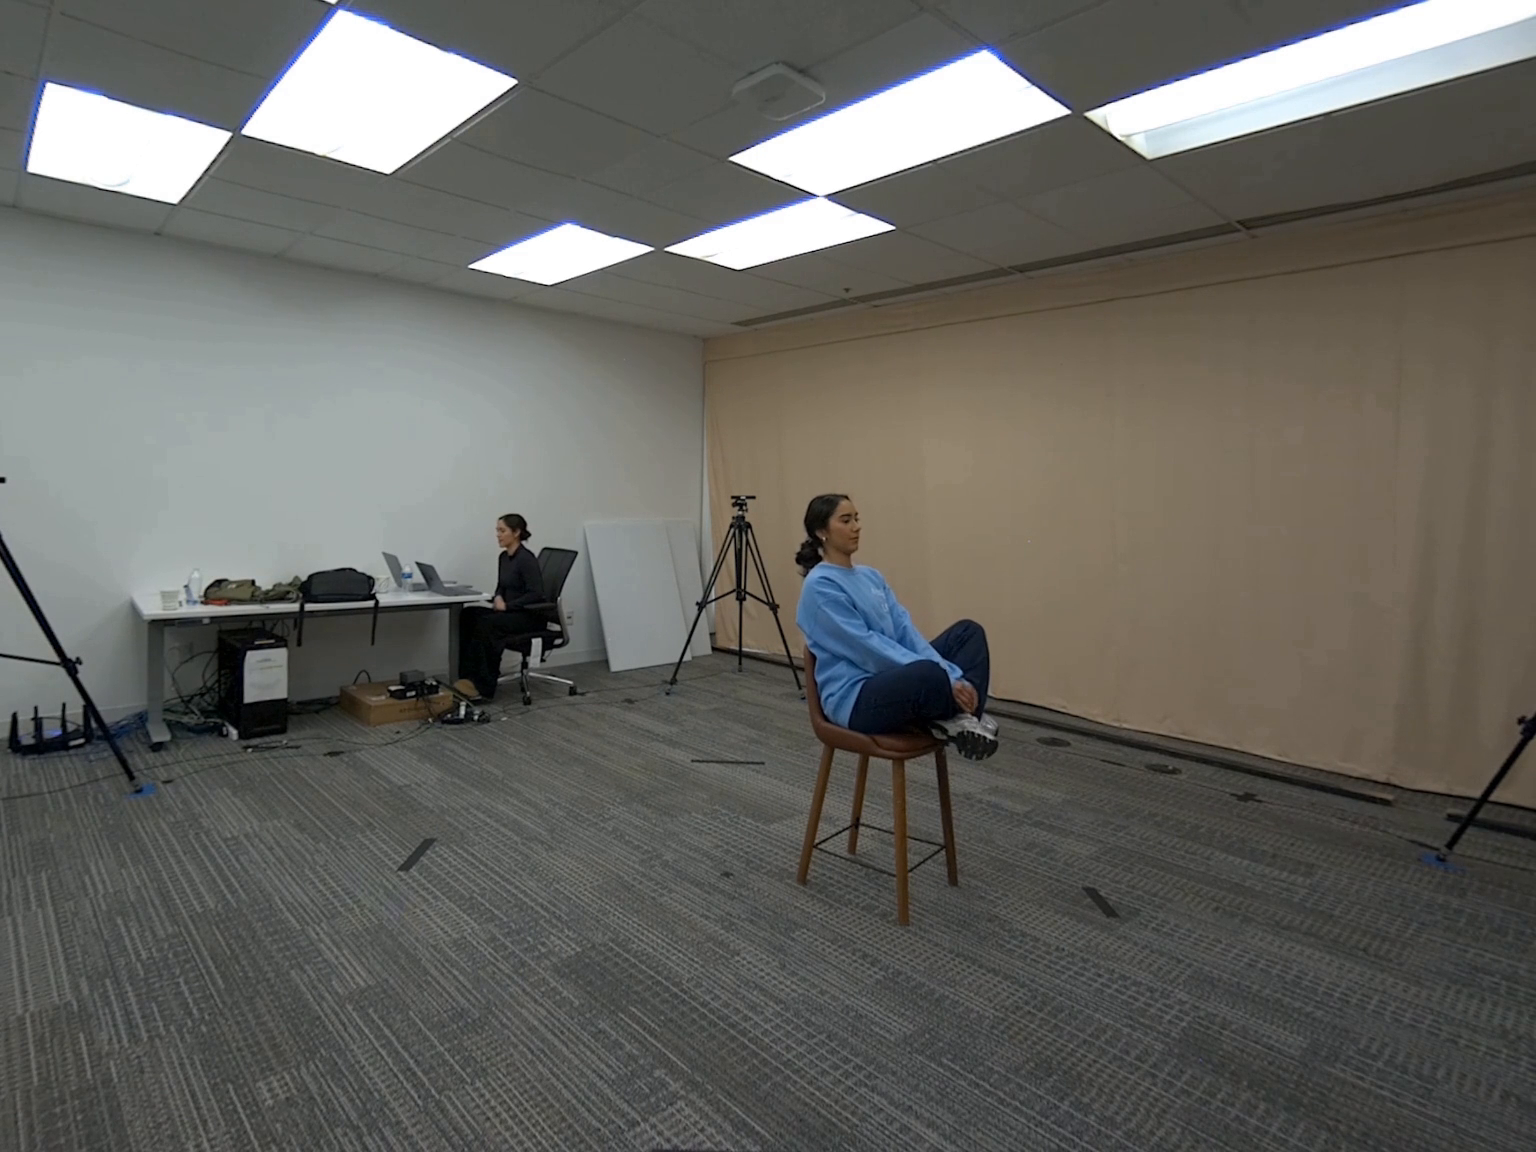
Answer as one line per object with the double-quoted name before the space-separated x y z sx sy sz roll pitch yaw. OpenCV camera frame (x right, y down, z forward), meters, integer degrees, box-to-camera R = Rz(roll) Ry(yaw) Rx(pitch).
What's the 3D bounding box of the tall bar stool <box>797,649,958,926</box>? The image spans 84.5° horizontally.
"tall bar stool" 0.392 0.687 3.034 0.479 0.888 0.446 2 2 39
